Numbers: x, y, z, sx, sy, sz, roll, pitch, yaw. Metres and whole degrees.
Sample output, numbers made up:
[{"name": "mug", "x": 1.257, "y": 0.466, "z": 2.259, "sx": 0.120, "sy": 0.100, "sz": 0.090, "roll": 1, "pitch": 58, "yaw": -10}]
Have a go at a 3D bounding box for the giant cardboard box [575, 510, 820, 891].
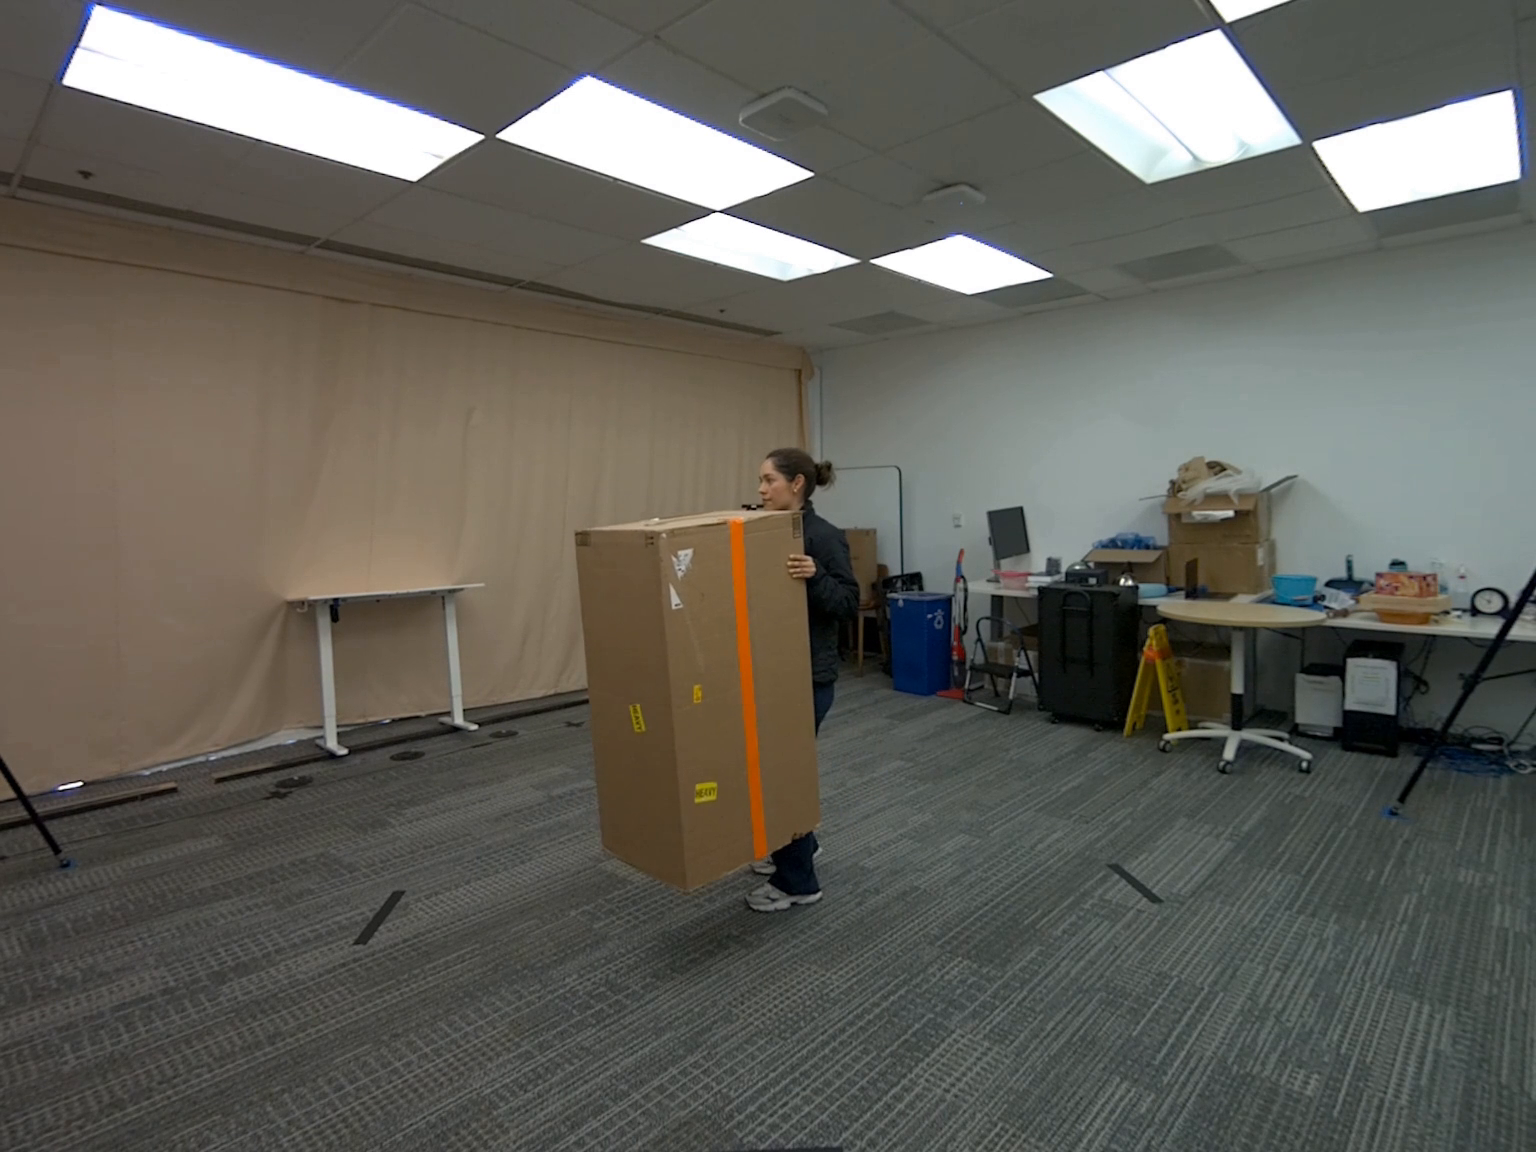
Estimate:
[{"name": "giant cardboard box", "x": -0.203, "y": 0.336, "z": 2.645, "sx": 0.561, "sy": 1.022, "sz": 0.440, "roll": -9, "pitch": 7, "yaw": -42}]
